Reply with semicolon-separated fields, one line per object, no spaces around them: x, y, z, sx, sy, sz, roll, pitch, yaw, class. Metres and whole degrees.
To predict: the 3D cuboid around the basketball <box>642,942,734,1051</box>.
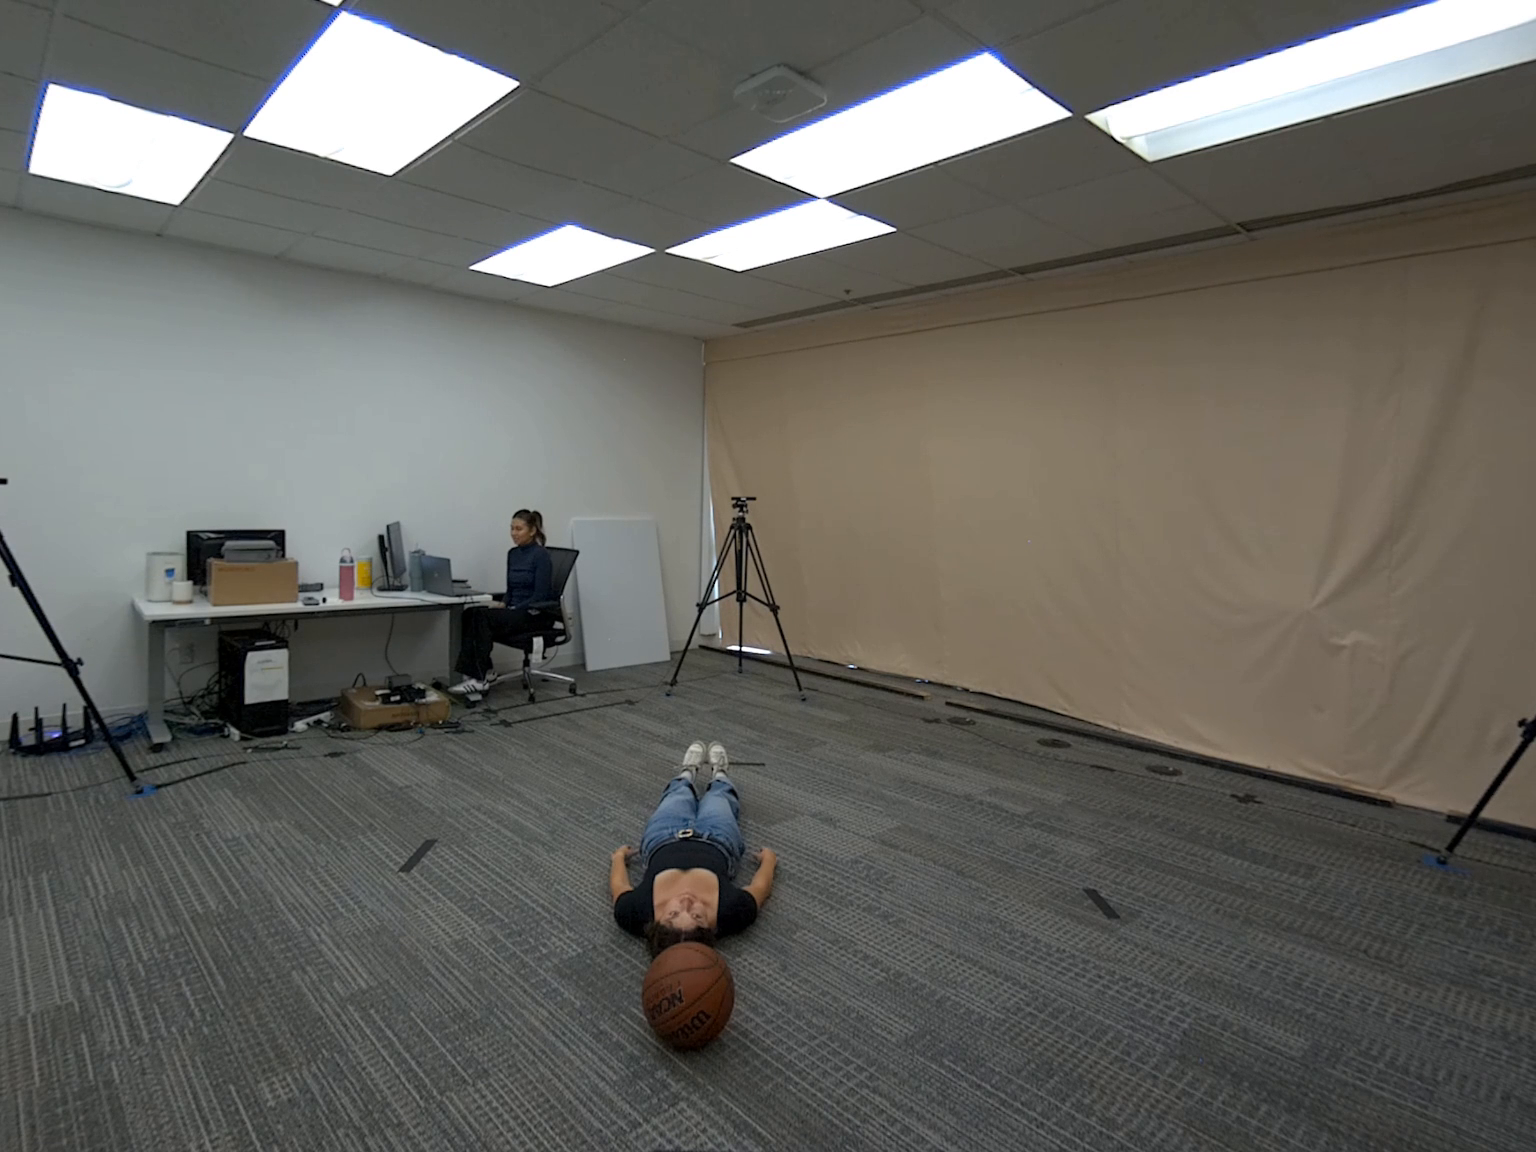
-0.208;1.072;2.157;0.236;0.235;0.237;1;4;-1;basketball
